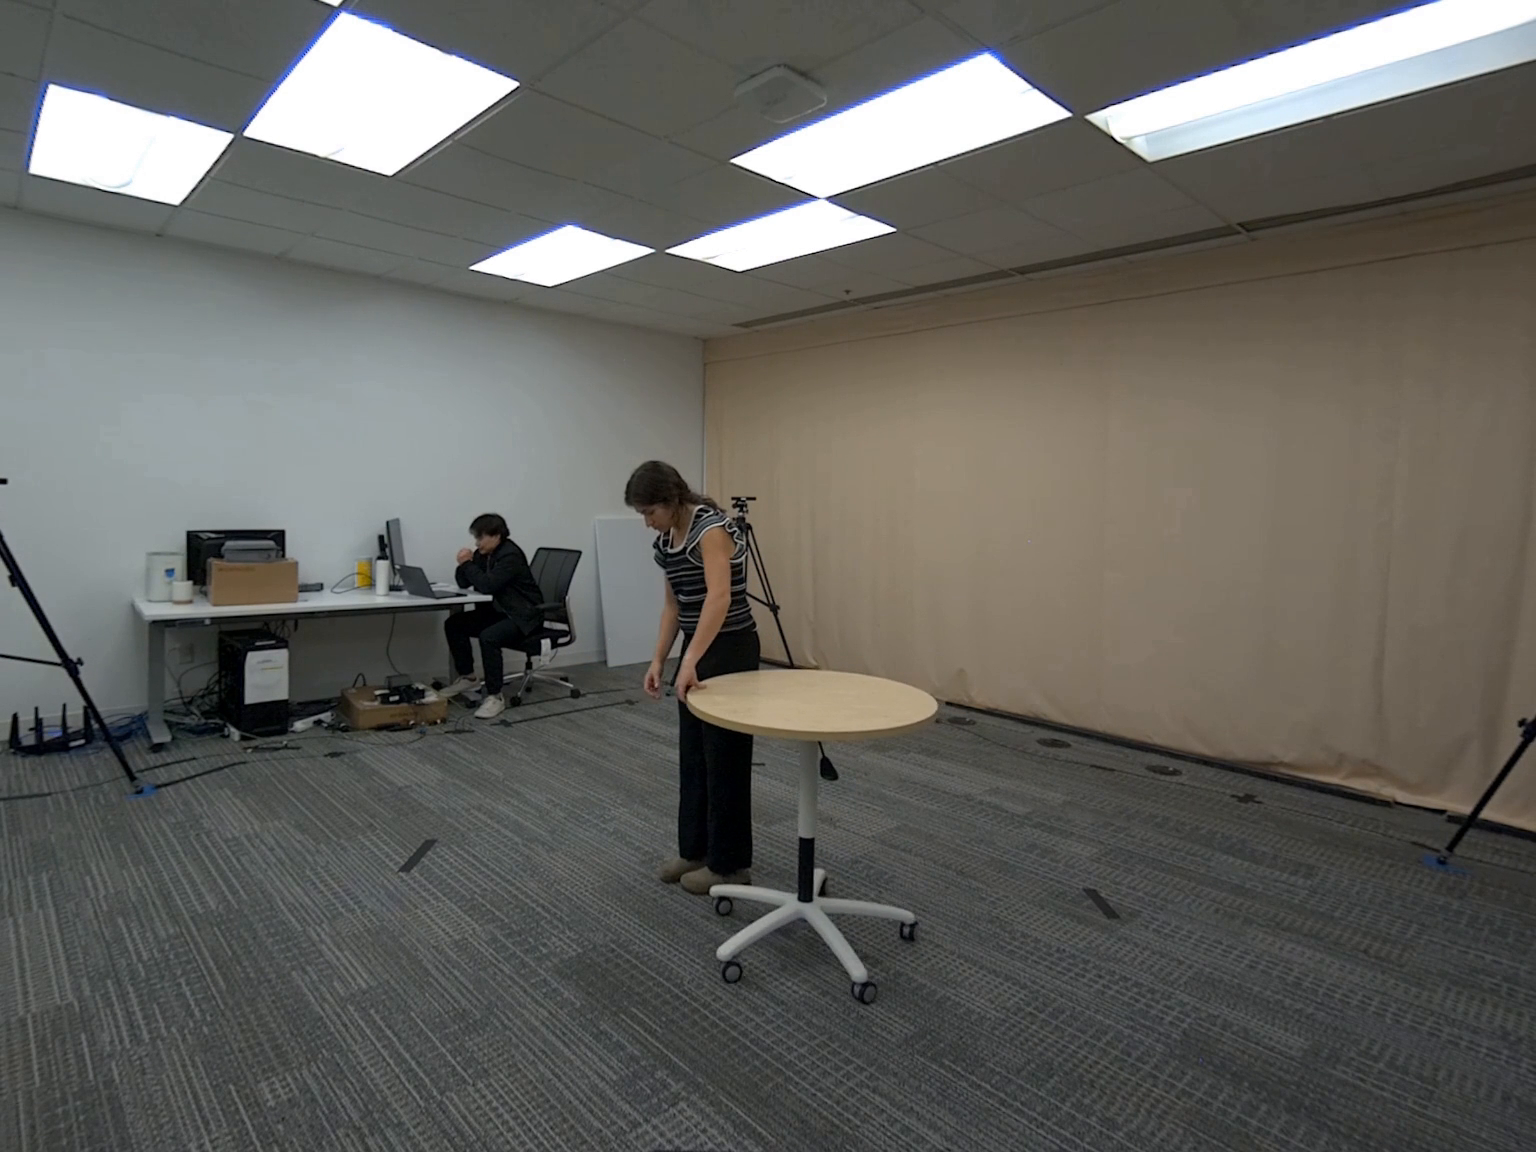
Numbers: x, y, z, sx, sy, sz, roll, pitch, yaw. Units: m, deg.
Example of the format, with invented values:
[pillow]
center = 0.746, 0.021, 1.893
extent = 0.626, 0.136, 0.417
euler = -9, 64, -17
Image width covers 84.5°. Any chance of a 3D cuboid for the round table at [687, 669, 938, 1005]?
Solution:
[round table]
center = 0.111, 0.761, 2.634
extent = 0.784, 0.784, 0.788
euler = 1, 5, -1
